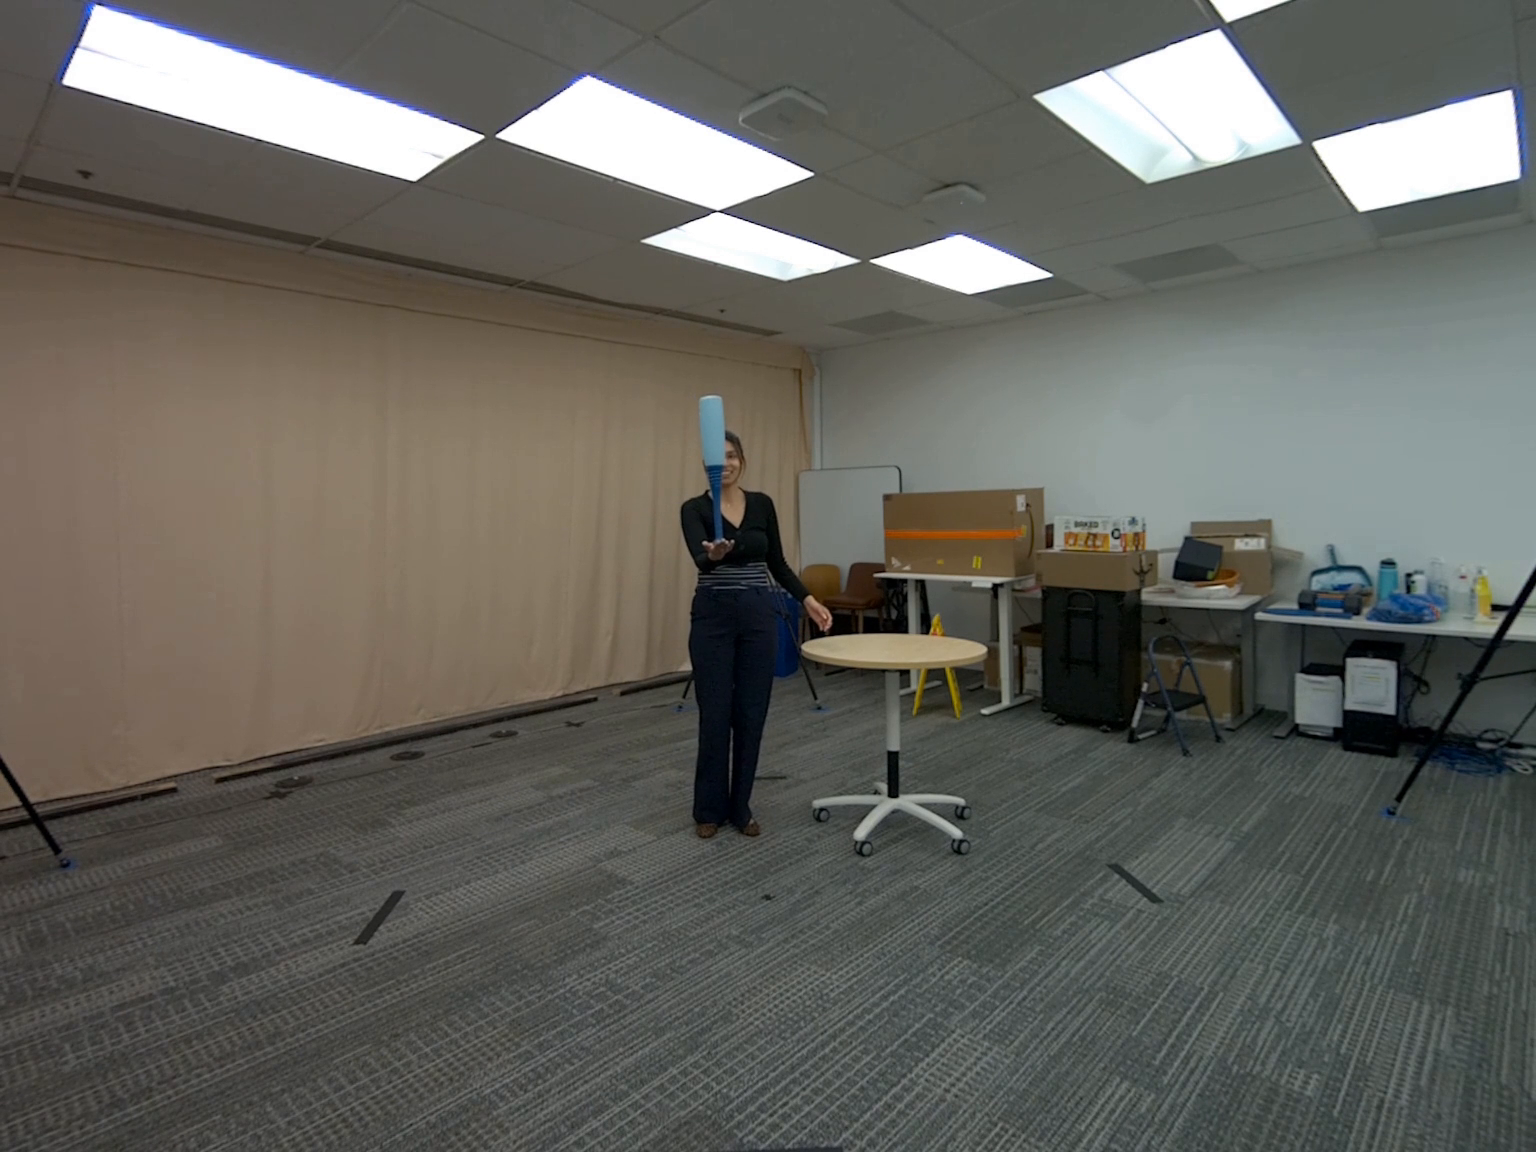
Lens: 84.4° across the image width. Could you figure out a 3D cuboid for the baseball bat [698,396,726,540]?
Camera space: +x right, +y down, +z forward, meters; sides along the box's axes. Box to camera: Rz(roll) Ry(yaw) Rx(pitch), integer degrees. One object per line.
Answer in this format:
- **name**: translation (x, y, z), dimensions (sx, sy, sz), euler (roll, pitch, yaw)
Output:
- **baseball bat**: translation (-0.187, -0.379, 3.059), dimensions (0.089, 0.542, 0.089), euler (-4, 1, -2)
